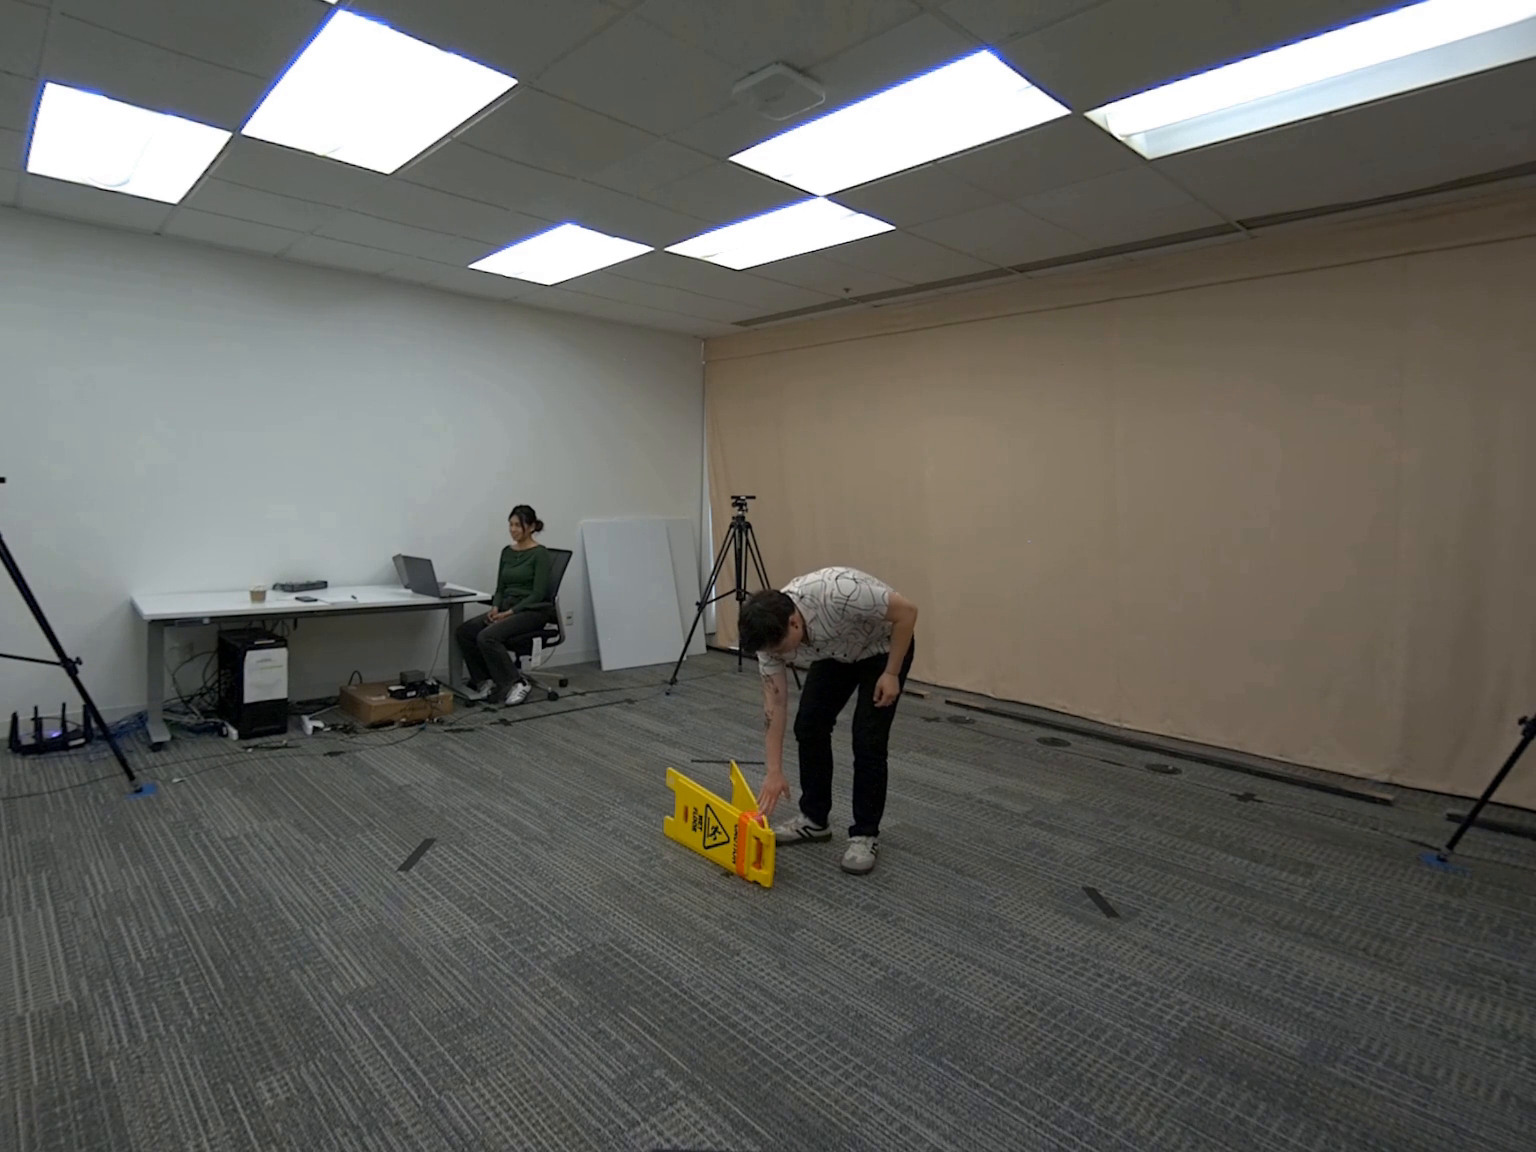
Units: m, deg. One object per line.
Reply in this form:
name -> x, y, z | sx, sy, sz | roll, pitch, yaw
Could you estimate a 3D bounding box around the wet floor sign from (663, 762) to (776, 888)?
wet floor sign -> -0.142, 0.955, 3.238 | 0.284, 0.281, 0.661 | 1, 7, -27
